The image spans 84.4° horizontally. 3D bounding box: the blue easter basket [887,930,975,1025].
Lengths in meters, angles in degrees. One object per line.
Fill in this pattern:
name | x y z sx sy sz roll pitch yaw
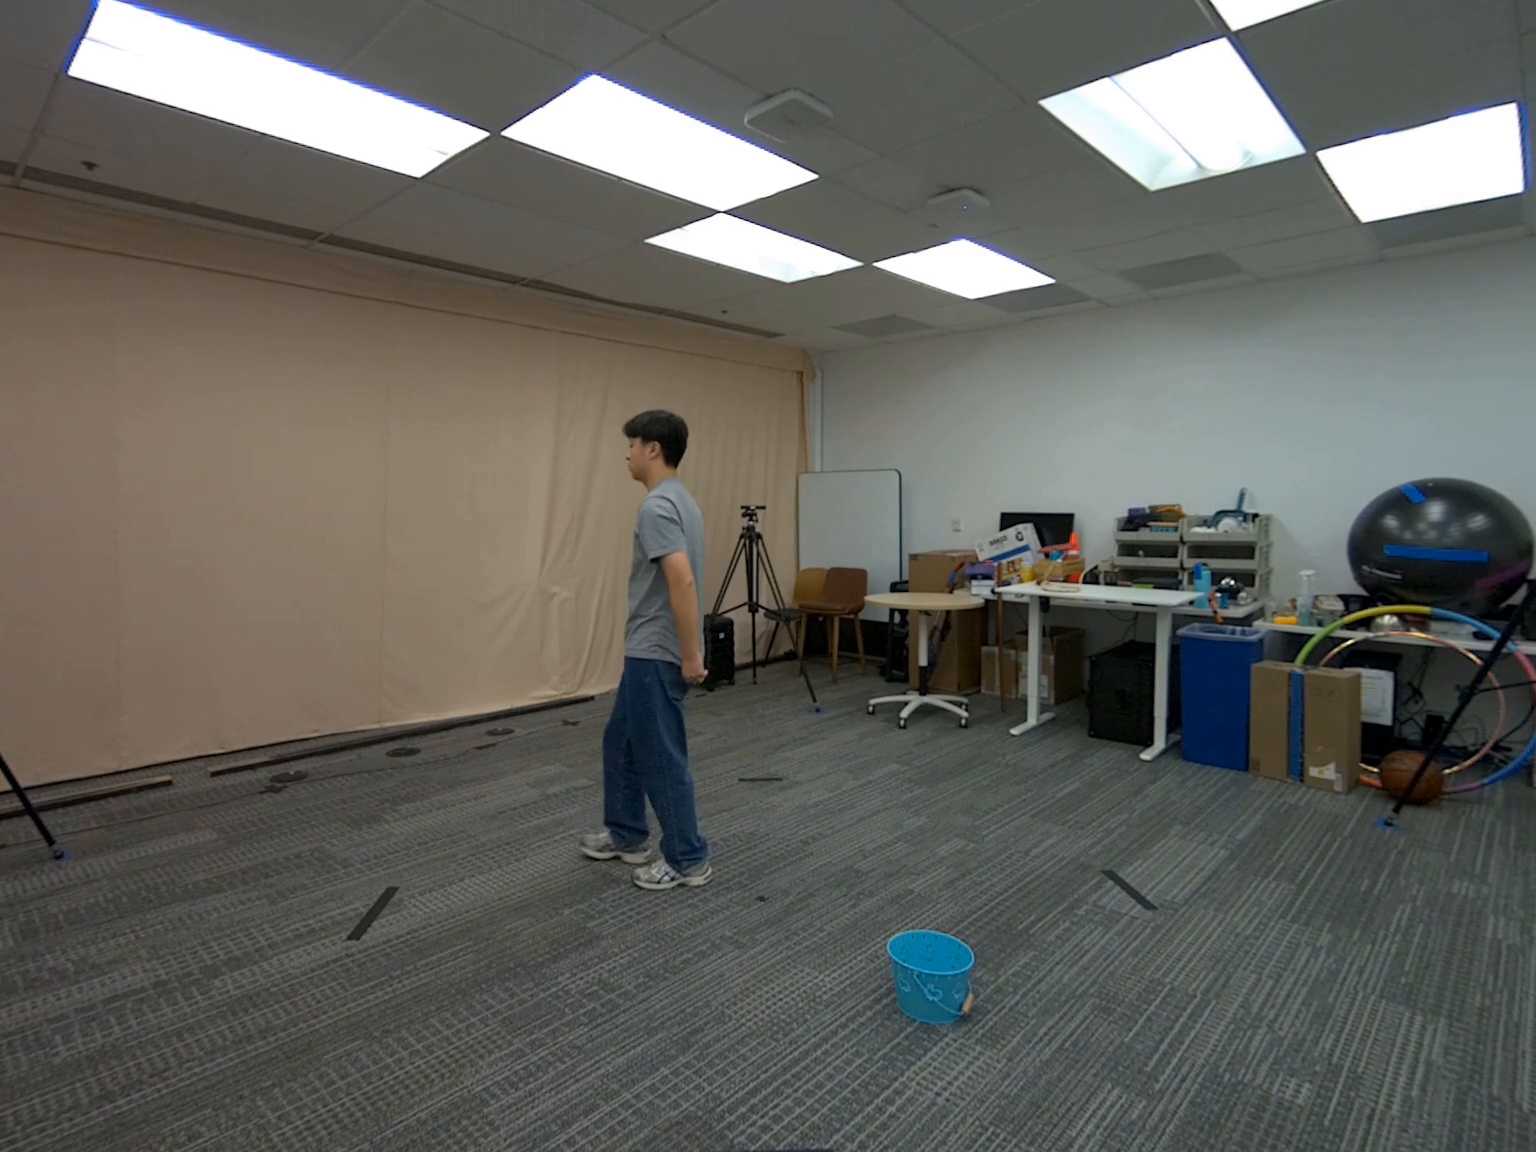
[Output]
blue easter basket | 0.459 1.119 2.338 0.243 0.155 0.244 0 3 -2
